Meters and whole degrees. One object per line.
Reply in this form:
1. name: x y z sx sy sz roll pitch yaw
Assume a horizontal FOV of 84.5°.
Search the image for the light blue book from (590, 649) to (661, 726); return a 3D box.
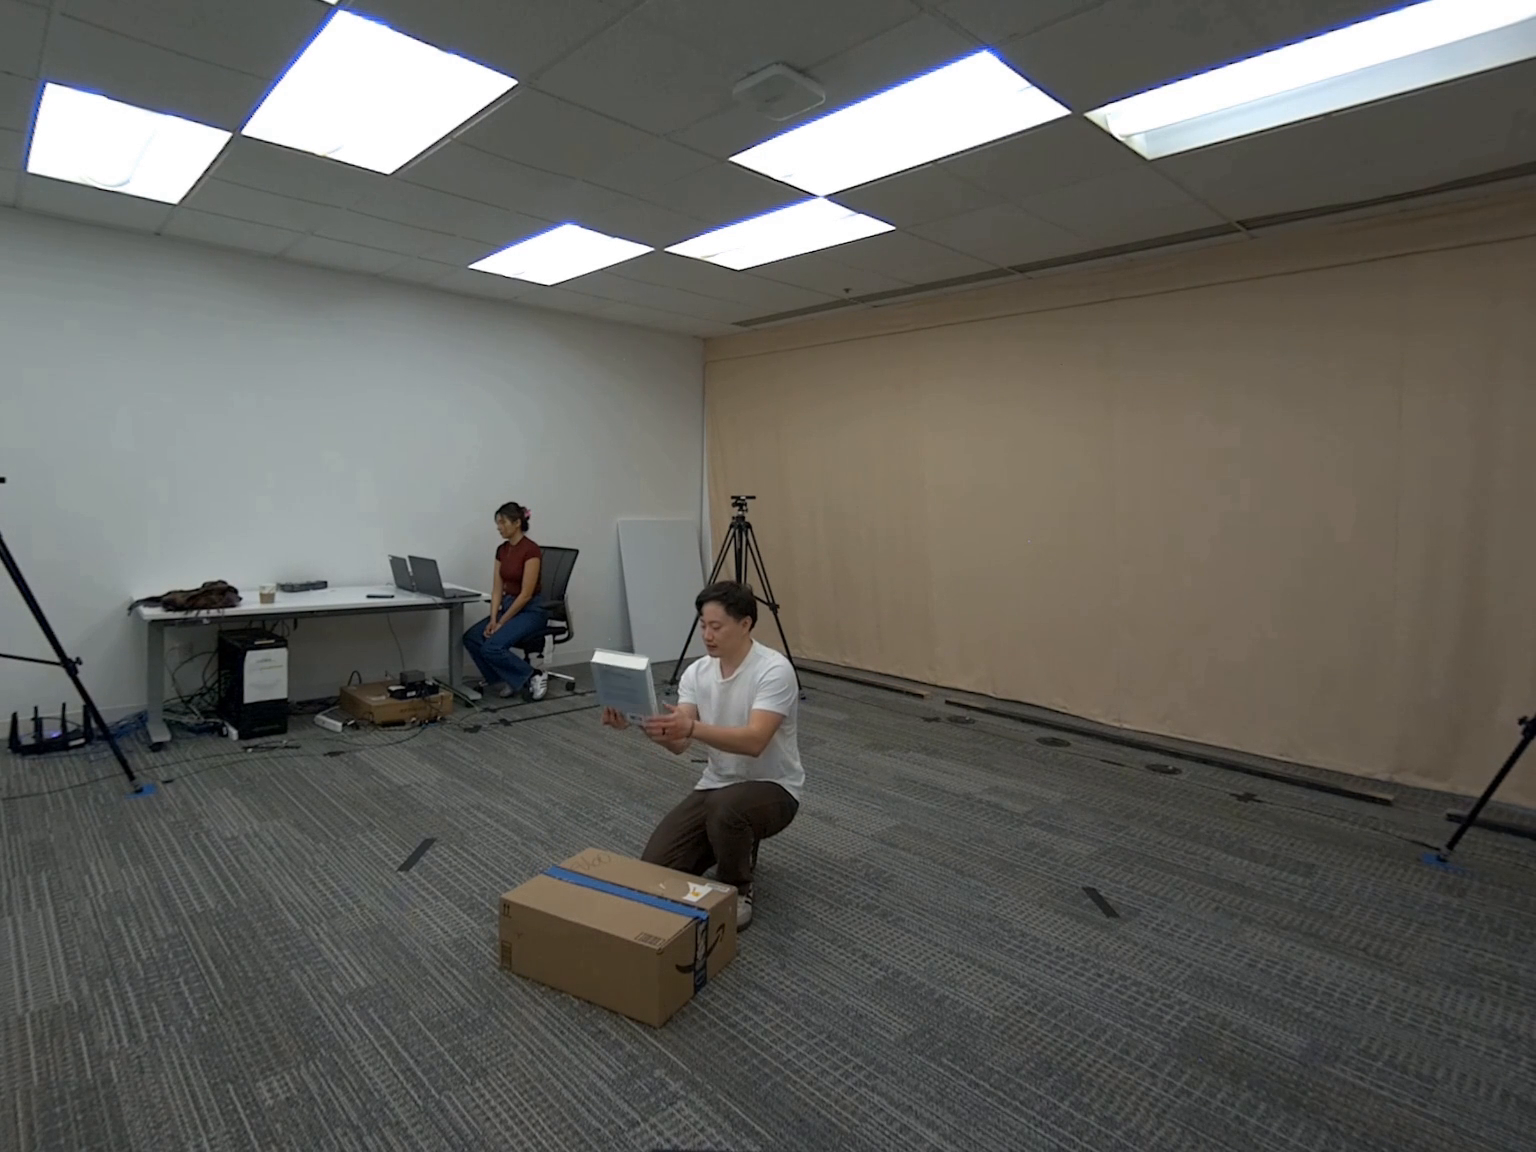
1. light blue book: -0.465 0.367 2.702 0.193 0.255 0.060 6 37 12
